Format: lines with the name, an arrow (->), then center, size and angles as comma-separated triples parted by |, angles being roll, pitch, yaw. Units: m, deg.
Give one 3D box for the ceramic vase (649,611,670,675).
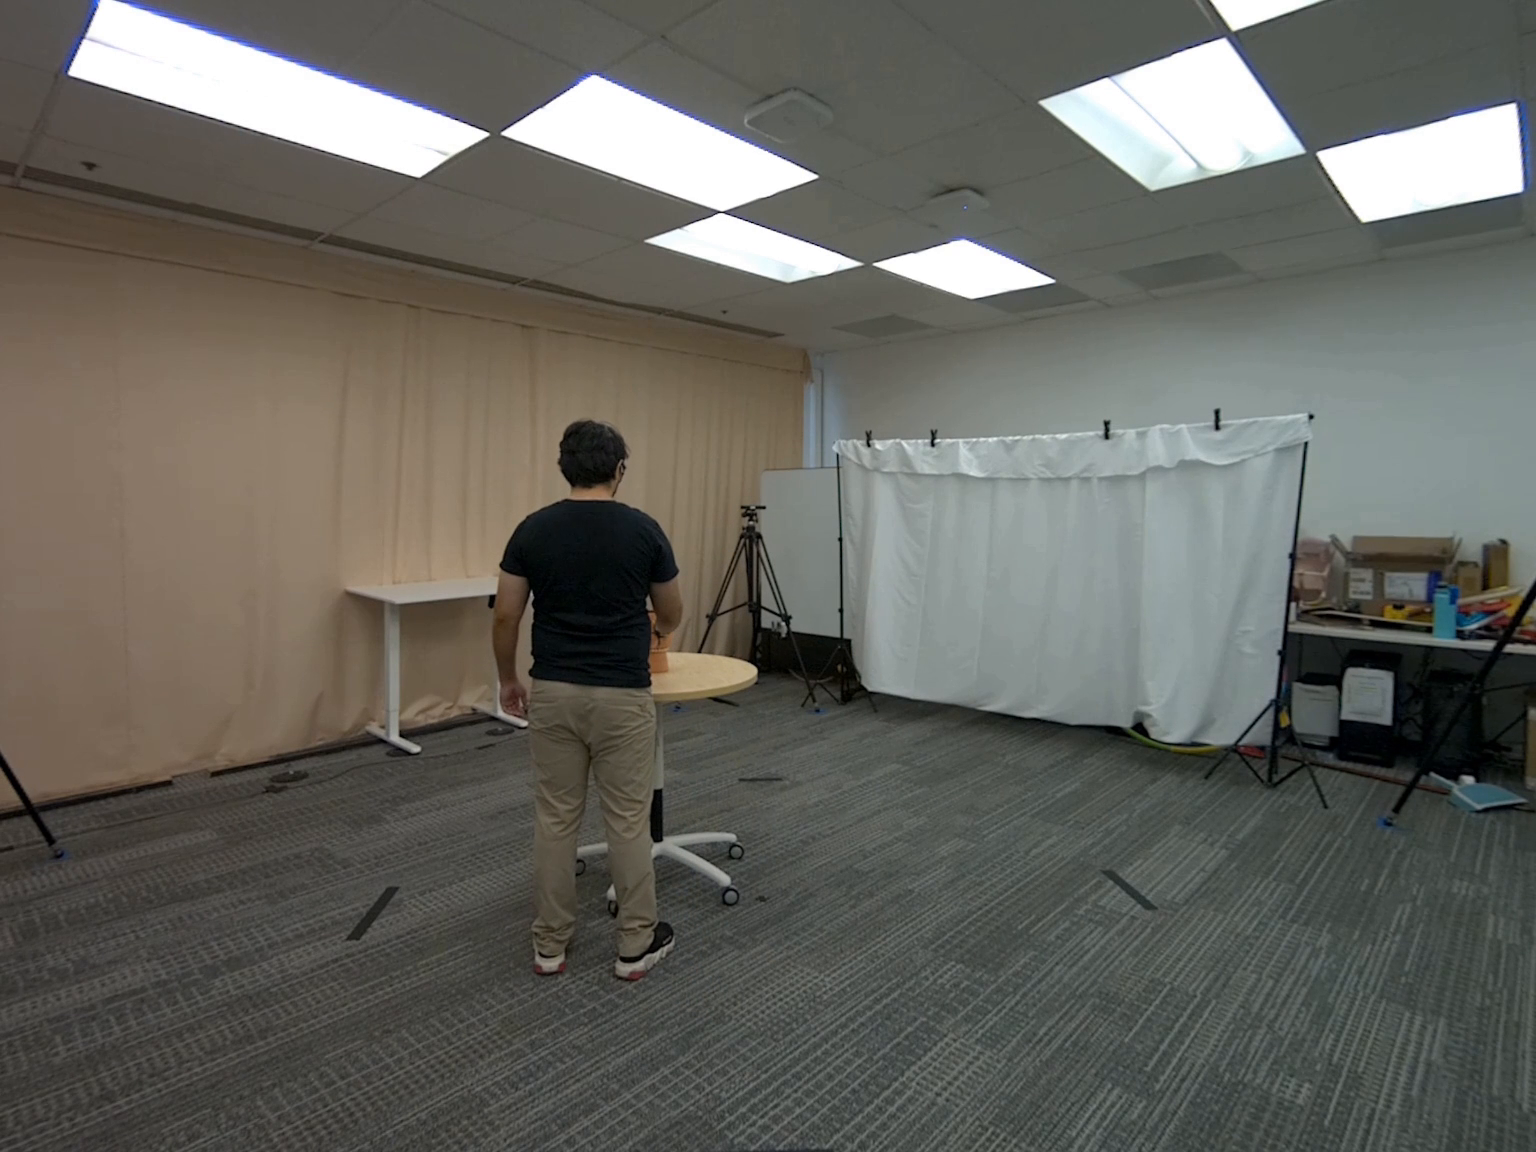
ceramic vase -> -0.412, 0.242, 3.114 | 0.139, 0.219, 0.154 | 3, 5, 37
